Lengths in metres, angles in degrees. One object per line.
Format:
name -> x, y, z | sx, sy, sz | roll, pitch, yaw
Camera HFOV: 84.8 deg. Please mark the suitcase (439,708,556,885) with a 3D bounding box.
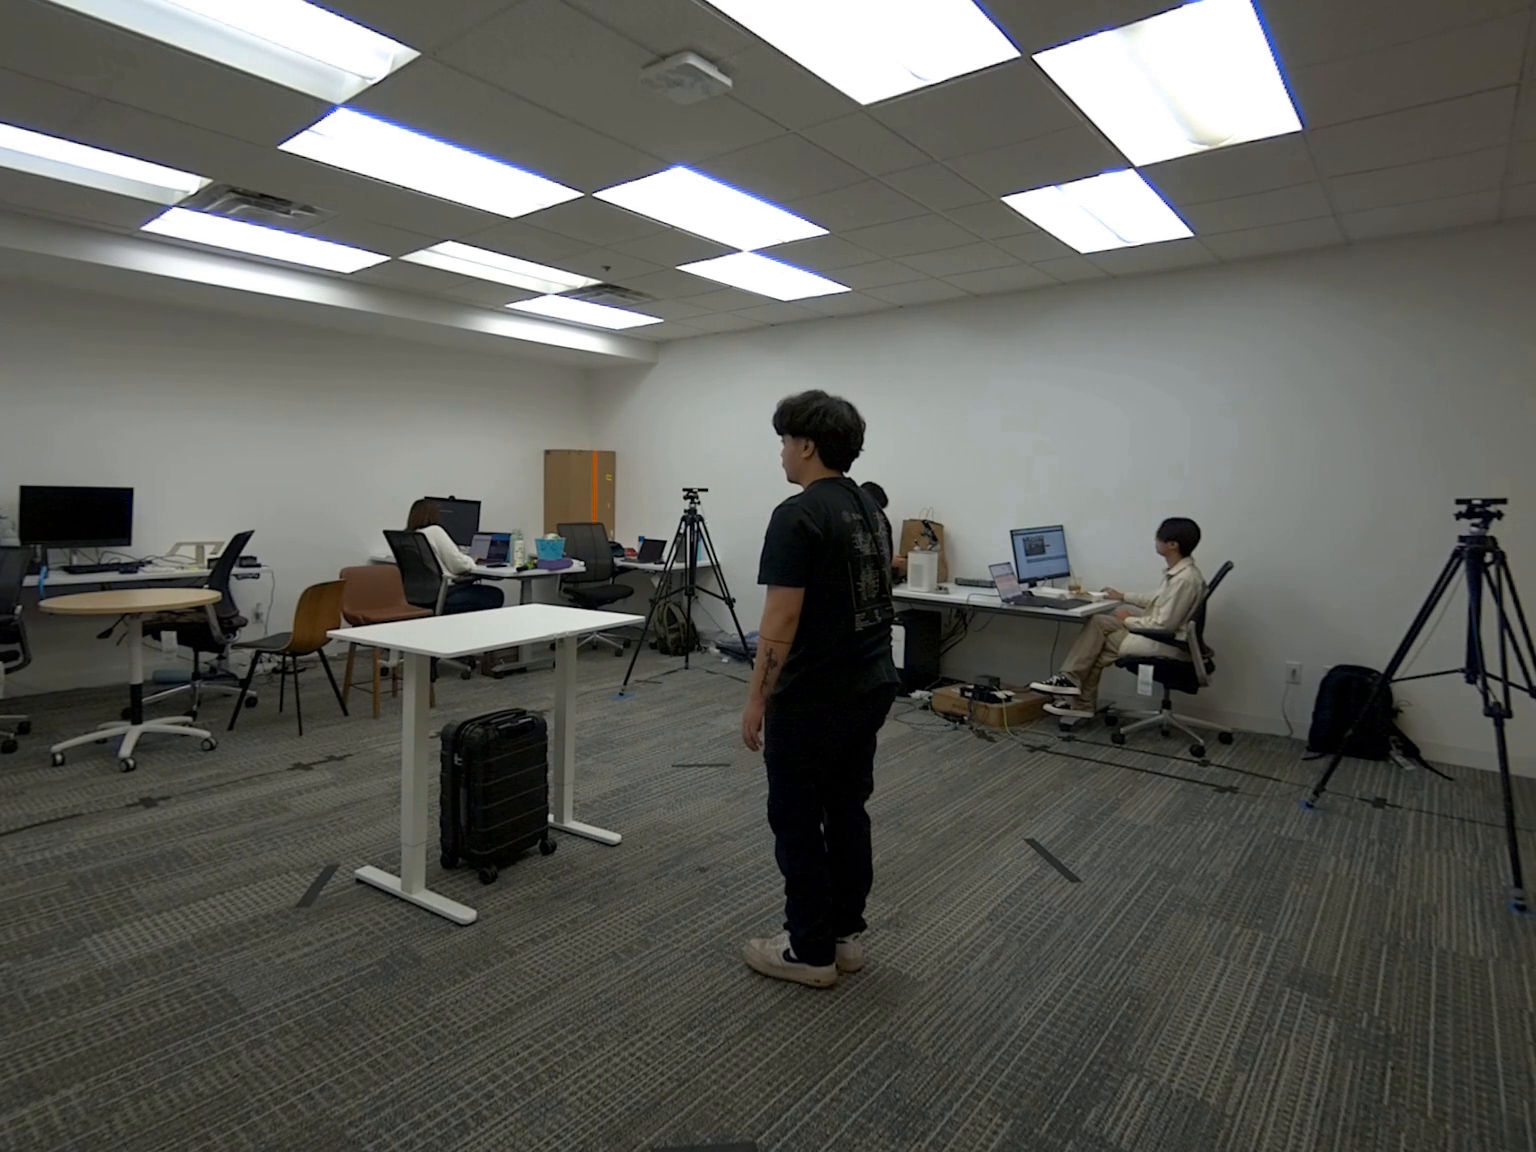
suitcase -> -1.027, 0.786, 3.156 | 0.255, 0.549, 0.365 | -1, 0, 31
